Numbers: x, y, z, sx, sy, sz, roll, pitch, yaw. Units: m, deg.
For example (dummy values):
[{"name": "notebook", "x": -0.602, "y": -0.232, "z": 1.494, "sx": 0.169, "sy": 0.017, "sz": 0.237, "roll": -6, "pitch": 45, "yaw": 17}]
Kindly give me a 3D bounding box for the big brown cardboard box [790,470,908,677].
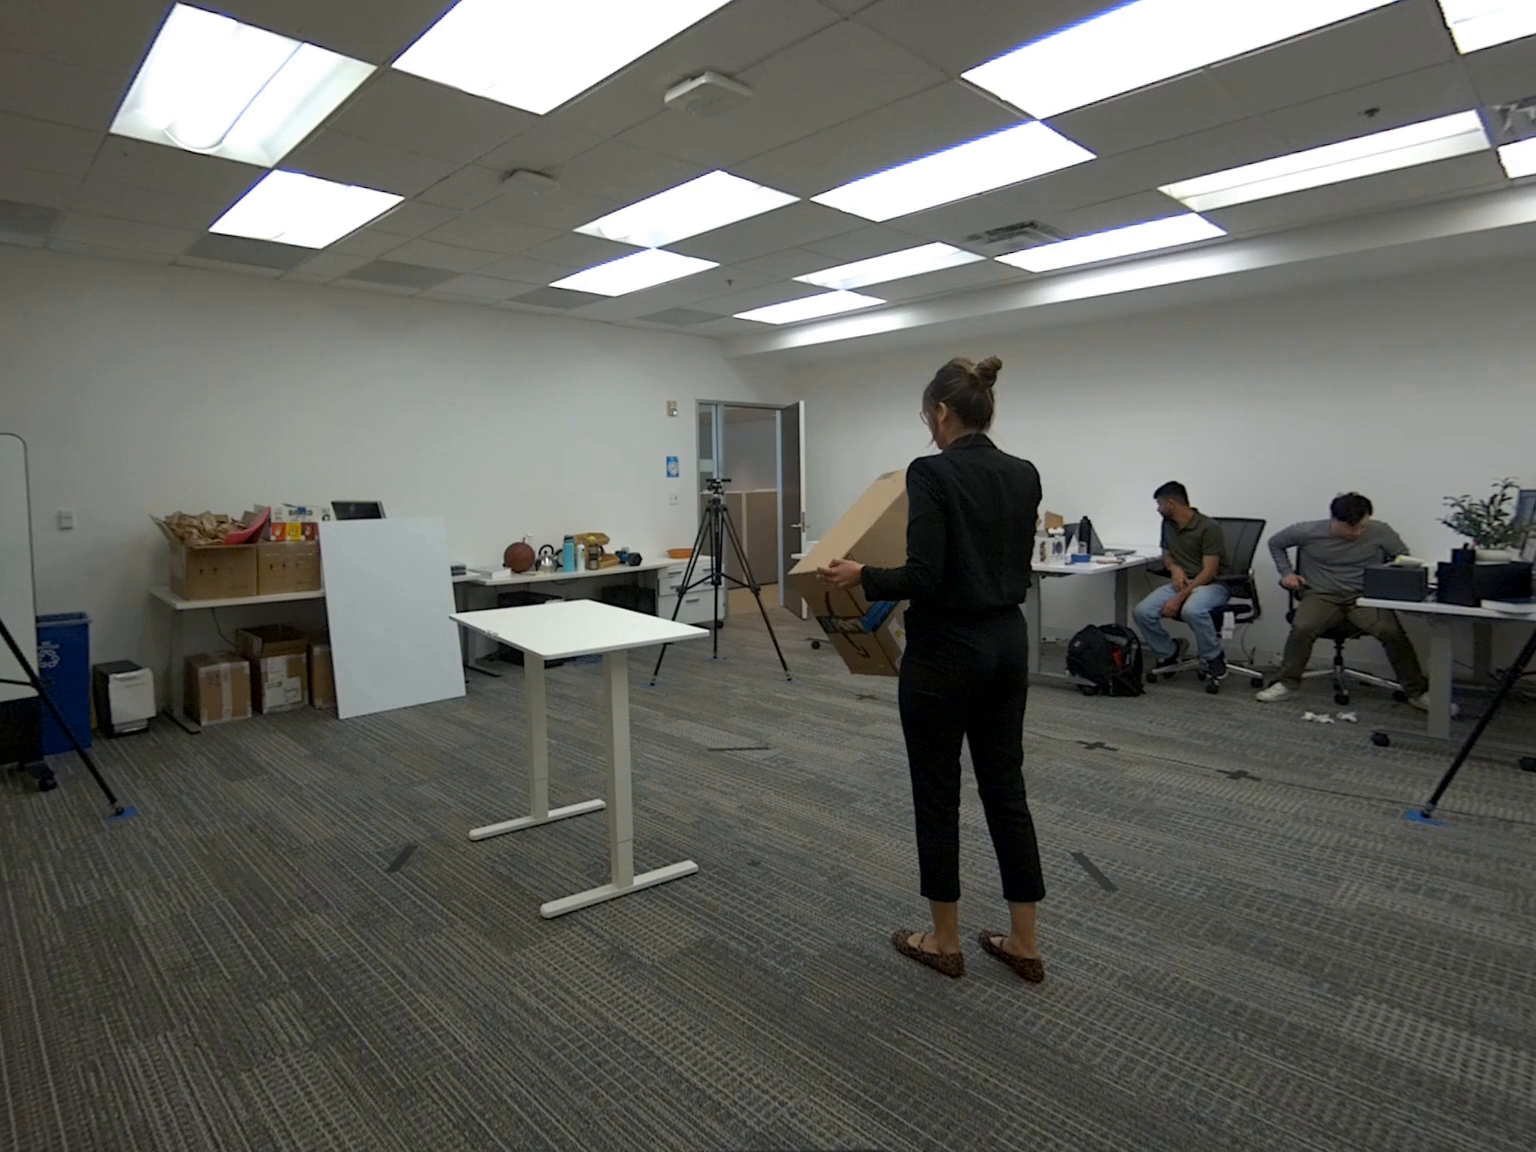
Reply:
[{"name": "big brown cardboard box", "x": 0.395, "y": -0.021, "z": 2.773, "sx": 0.588, "sy": 0.409, "sz": 0.238, "roll": -46, "pitch": 20, "yaw": -31}]
